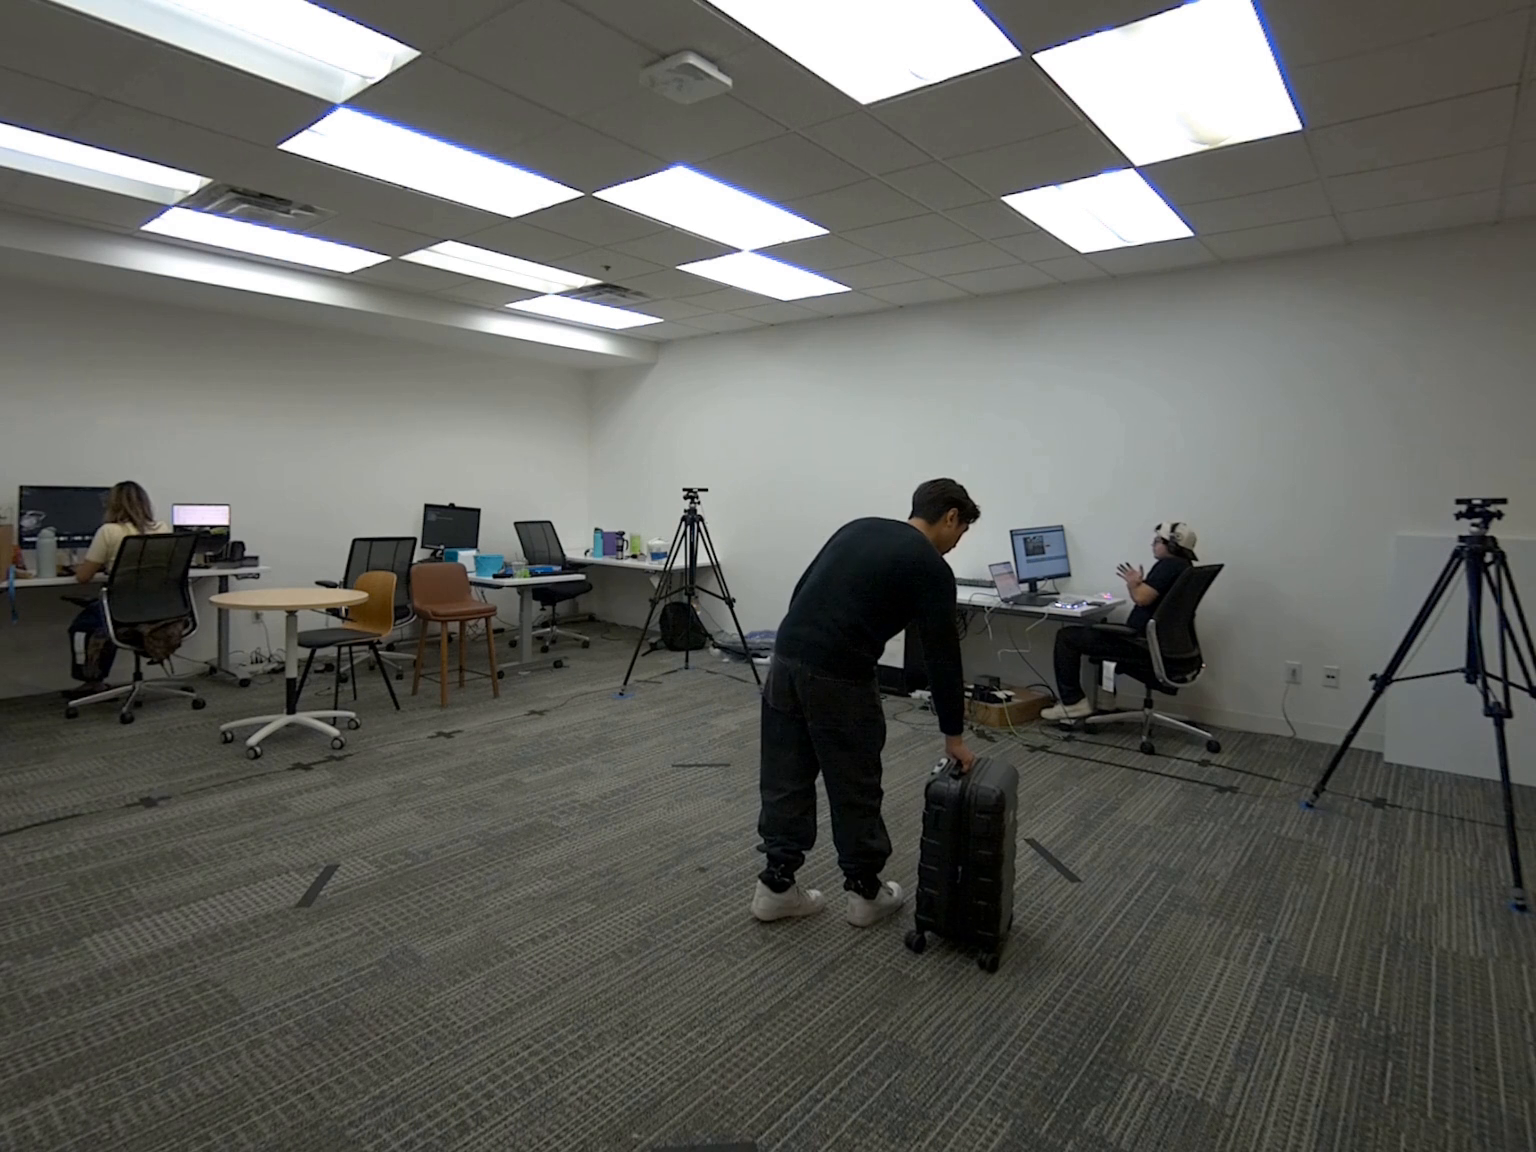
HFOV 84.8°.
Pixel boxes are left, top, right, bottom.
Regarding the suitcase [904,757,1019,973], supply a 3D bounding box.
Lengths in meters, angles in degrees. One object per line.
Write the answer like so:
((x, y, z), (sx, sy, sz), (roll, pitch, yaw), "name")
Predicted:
((0.632, 0.859, 2.667), (0.255, 0.548, 0.366), (4, 2, 25), "suitcase")
